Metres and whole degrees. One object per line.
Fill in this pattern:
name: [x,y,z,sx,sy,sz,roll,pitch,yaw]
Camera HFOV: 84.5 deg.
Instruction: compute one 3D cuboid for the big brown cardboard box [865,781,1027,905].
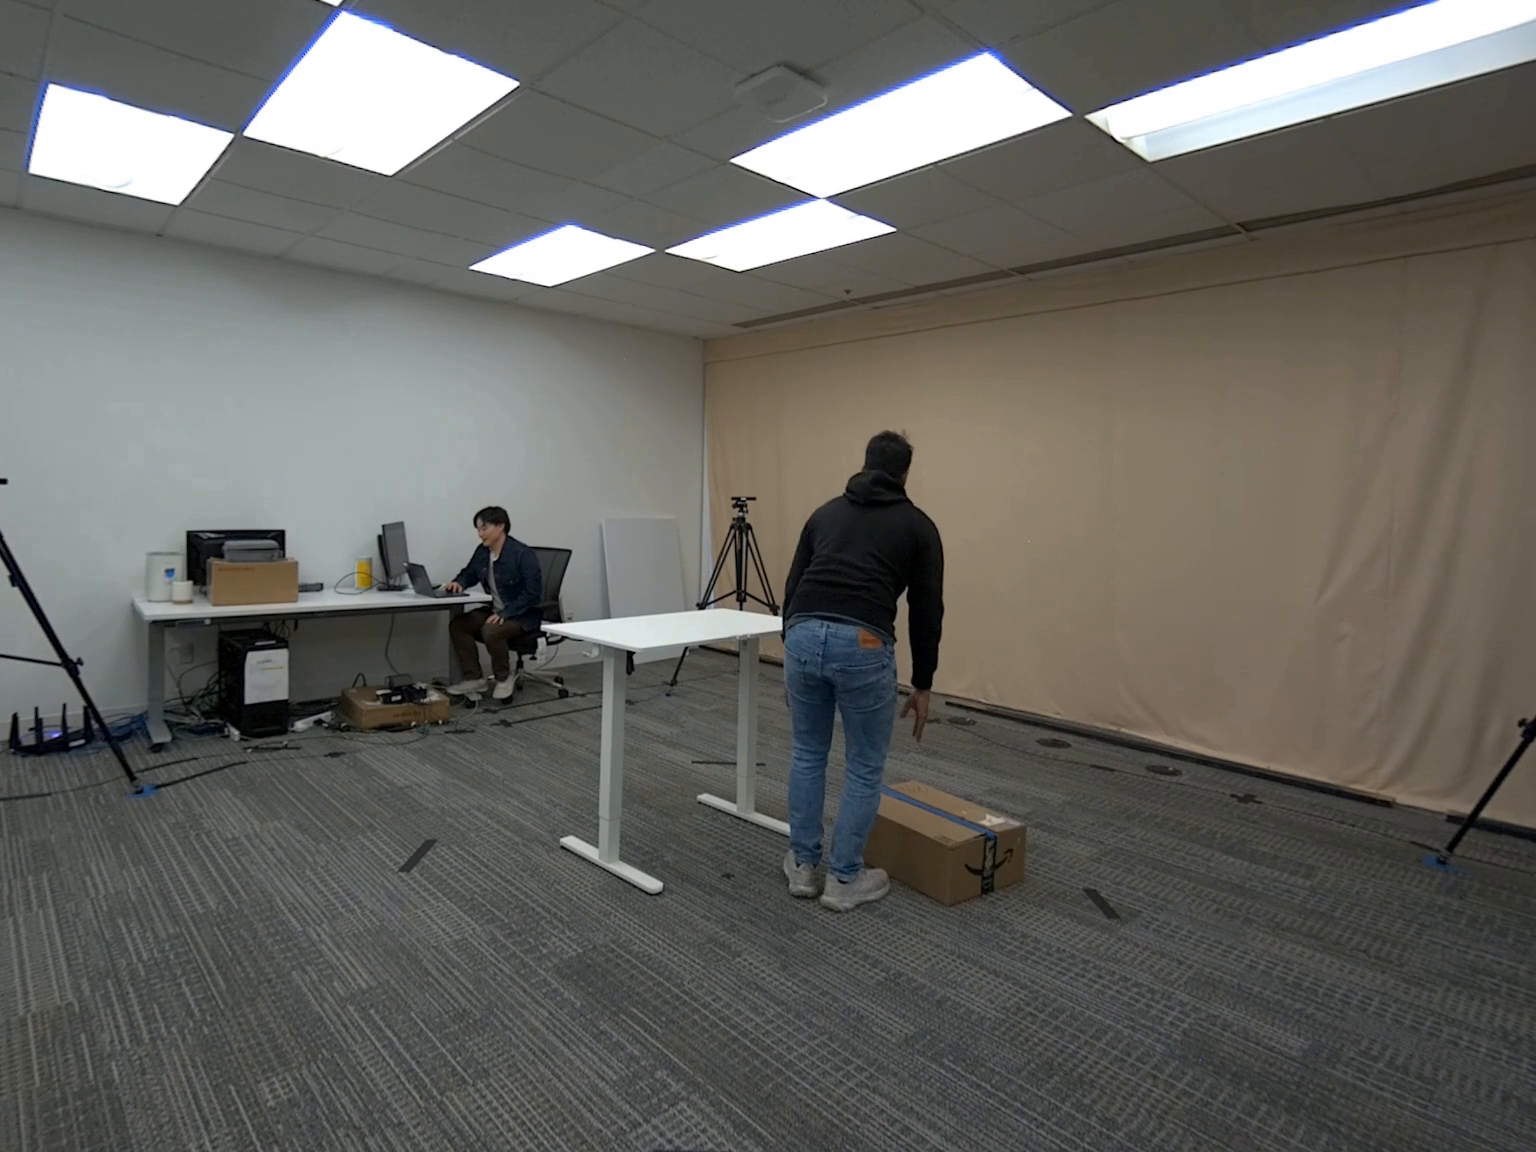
big brown cardboard box: [0.616,1.005,3.239,0.408,0.232,0.603,-1,5,-36]
